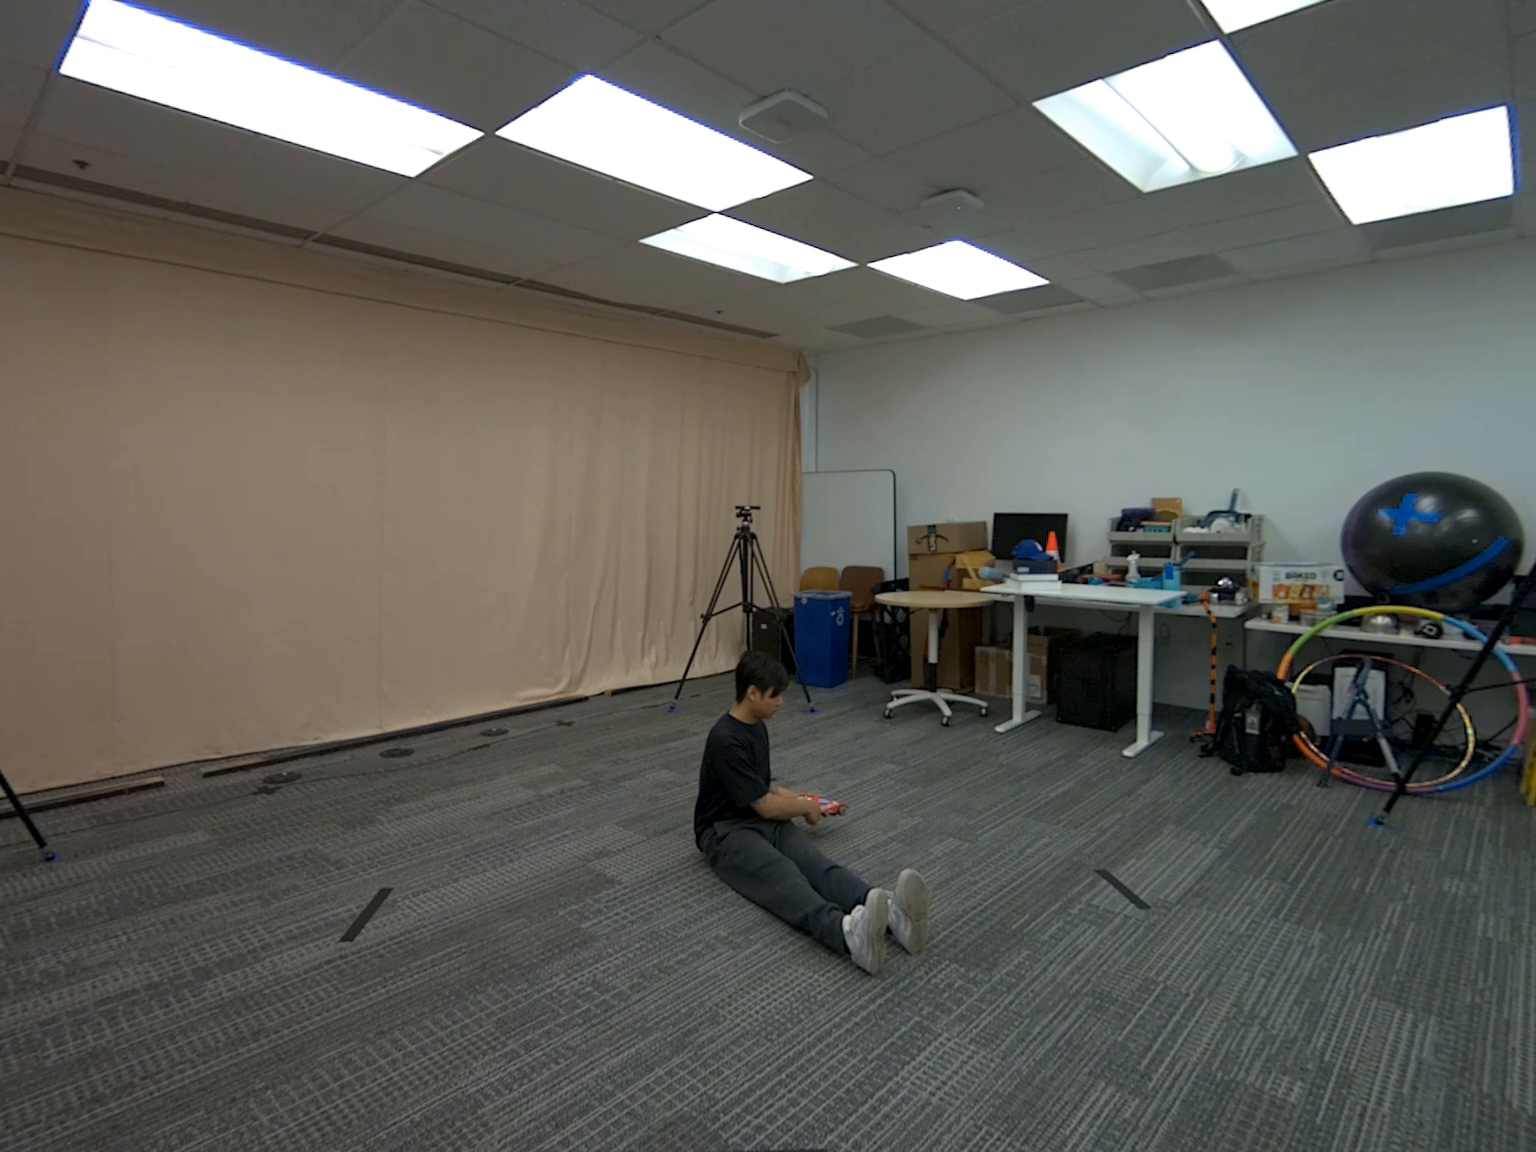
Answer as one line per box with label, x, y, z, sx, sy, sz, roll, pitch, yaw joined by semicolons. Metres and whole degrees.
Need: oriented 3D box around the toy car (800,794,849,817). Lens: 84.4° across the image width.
toy car;0.218;0.978;3.554;0.250;0.084;0.131;17;-22;-14
